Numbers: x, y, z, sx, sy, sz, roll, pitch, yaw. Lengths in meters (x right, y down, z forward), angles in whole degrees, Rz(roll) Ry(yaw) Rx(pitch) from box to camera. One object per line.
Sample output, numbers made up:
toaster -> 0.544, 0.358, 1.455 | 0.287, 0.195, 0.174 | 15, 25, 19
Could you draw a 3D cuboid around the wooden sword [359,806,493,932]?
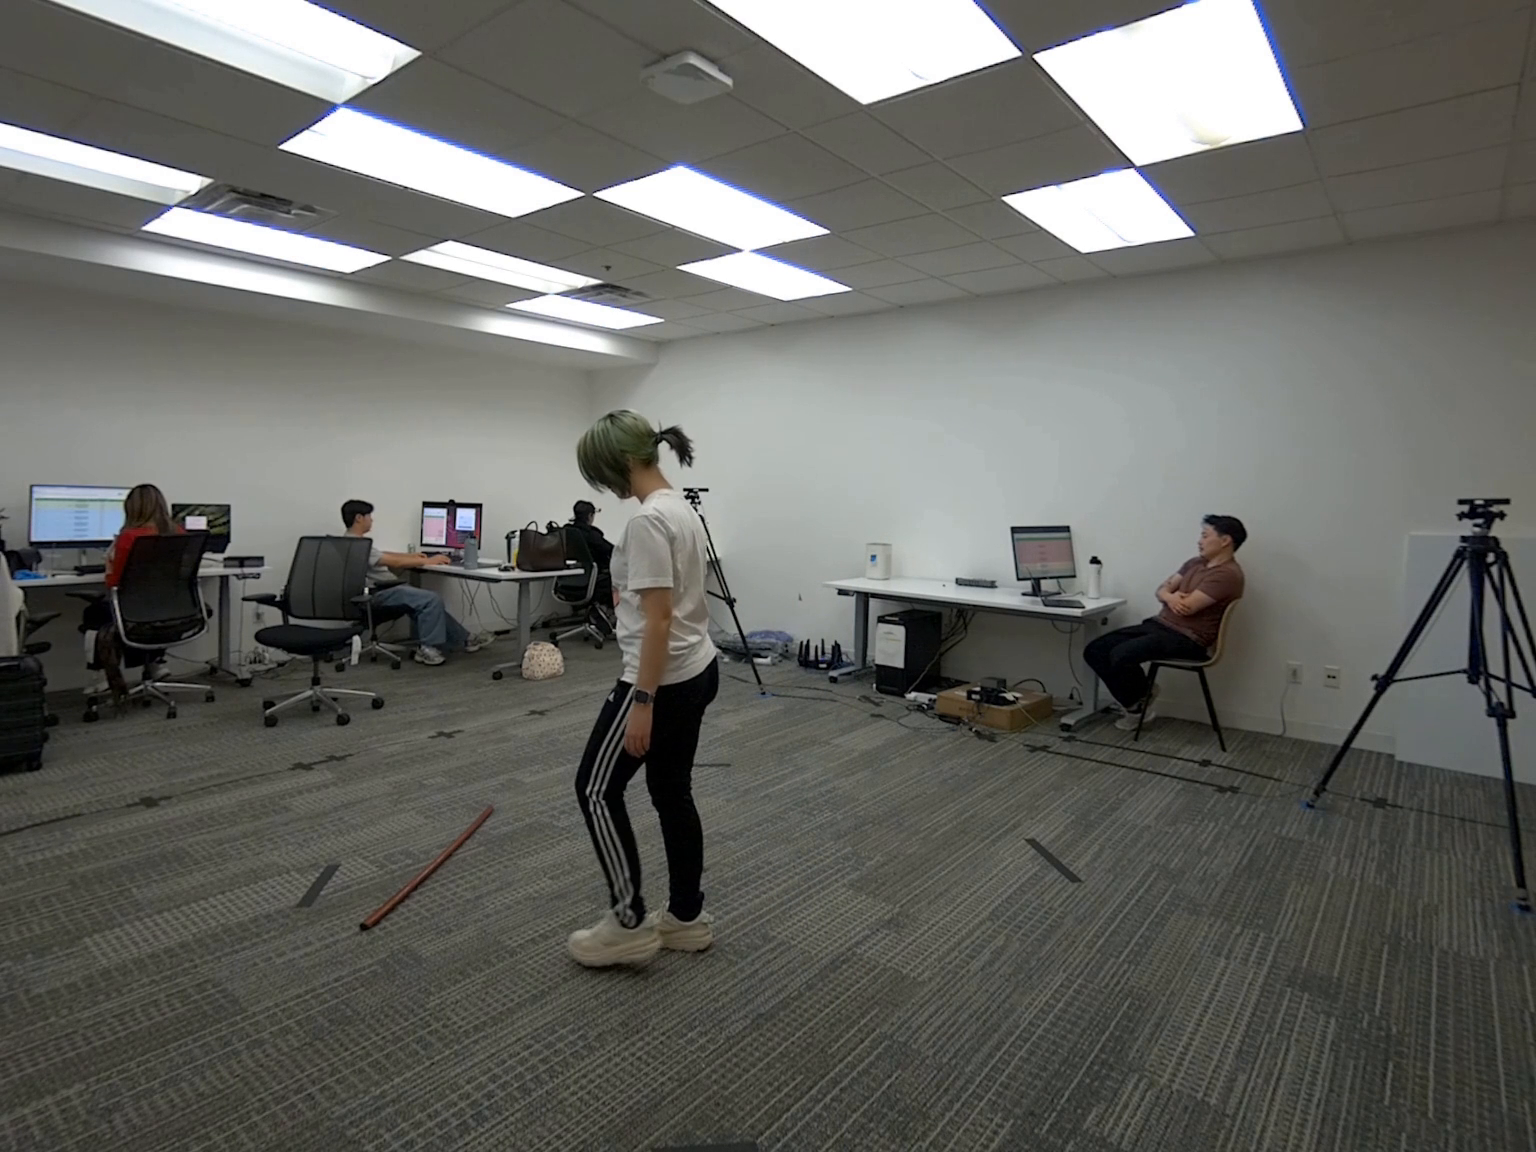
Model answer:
wooden sword -> -1.206, 1.028, 3.135 | 0.024, 0.051, 1.023 | 15, 6, 2
